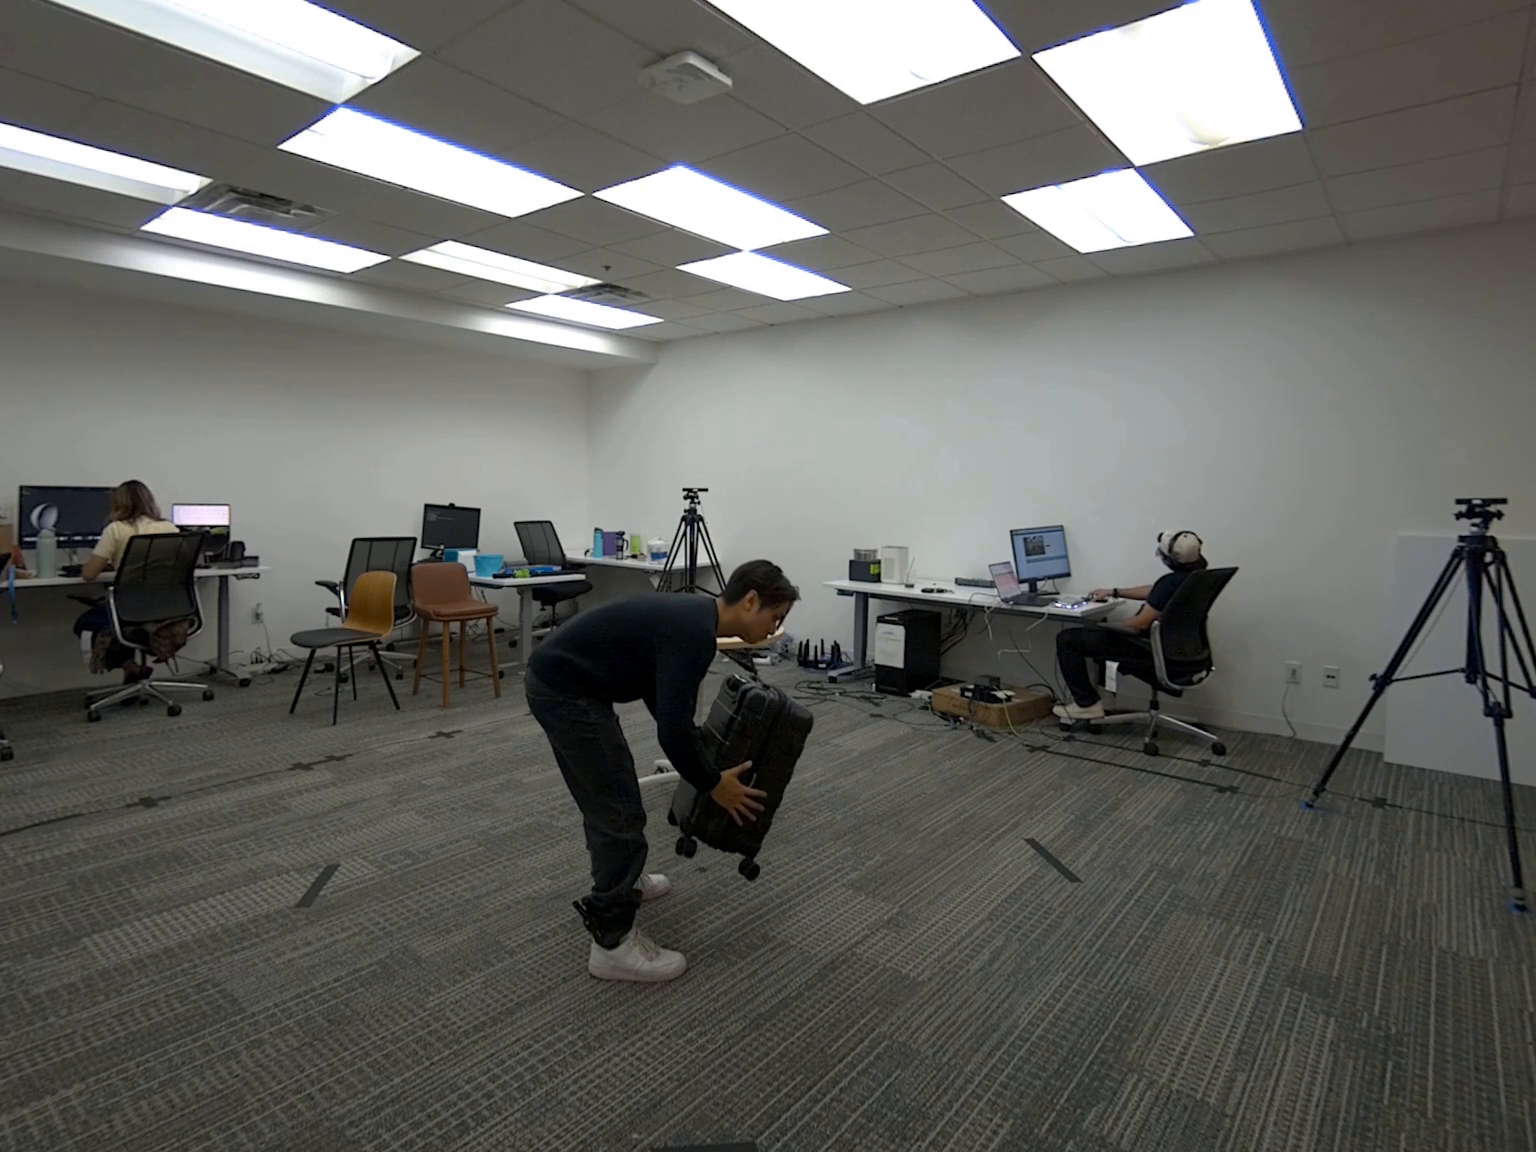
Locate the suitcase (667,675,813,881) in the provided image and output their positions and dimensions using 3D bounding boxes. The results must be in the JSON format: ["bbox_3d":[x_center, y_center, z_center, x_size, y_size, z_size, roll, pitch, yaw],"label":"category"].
[{"bbox_3d":[-0.108,0.592,2.678,0.245,0.551,0.380,25,-5,-12],"label":"suitcase"}]
